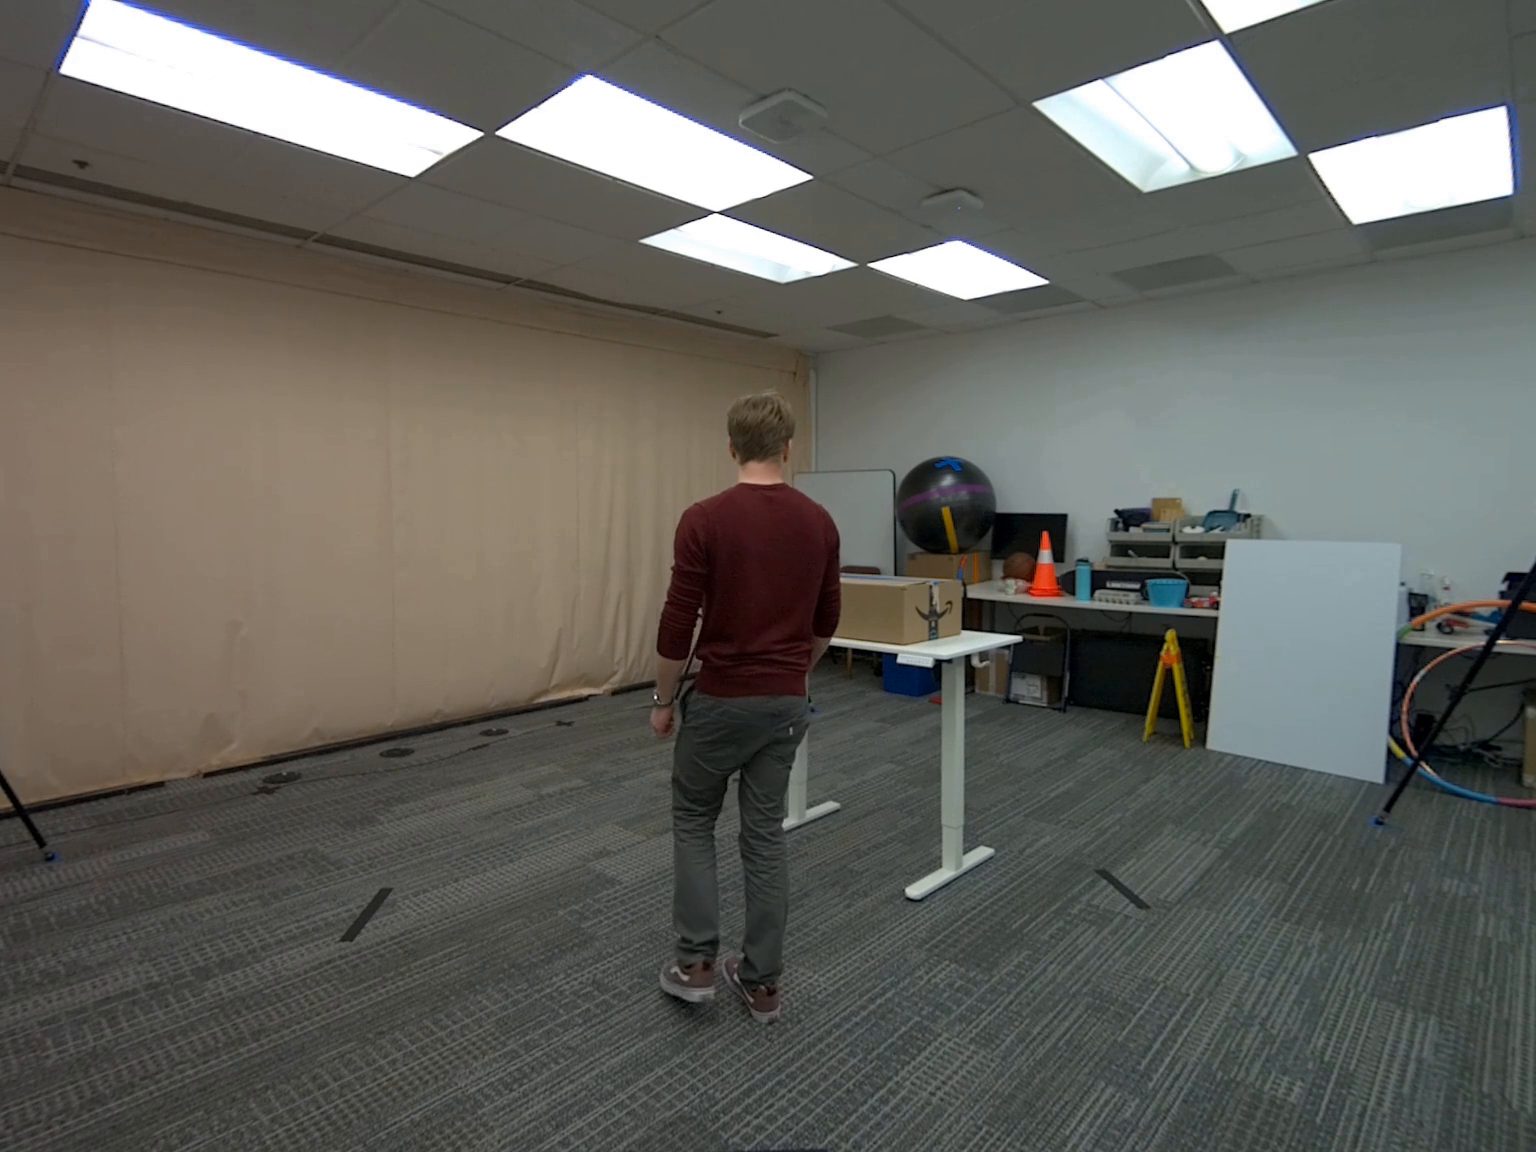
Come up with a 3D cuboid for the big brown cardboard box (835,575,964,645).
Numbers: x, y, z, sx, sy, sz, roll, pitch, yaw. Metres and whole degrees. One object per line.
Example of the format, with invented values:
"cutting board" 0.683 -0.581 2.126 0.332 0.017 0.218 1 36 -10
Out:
"big brown cardboard box" 0.412 0.118 3.372 0.609 0.232 0.405 5 6 42
